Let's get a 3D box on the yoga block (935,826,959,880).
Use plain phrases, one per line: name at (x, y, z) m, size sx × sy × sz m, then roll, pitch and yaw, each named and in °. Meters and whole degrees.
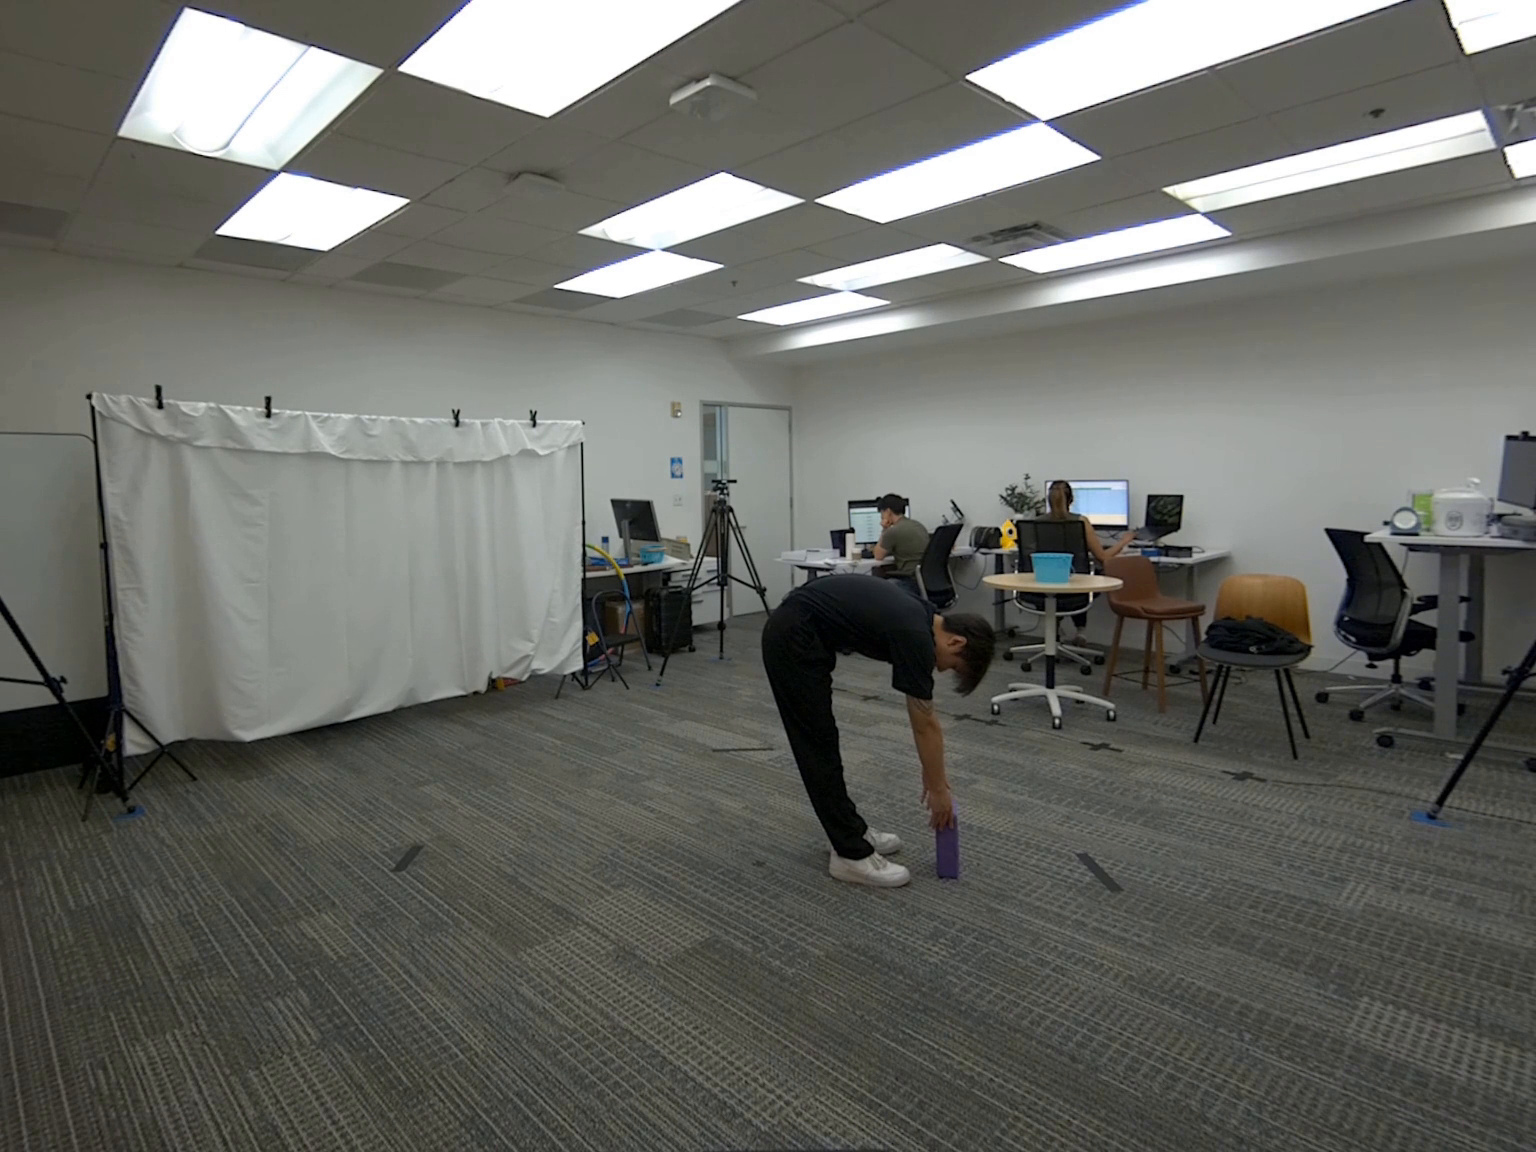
yoga block at (0.633, 0.927, 3.025) m, size 0.077 × 0.228 × 0.148 m, roll 1°, pitch 5°, yaw 9°
